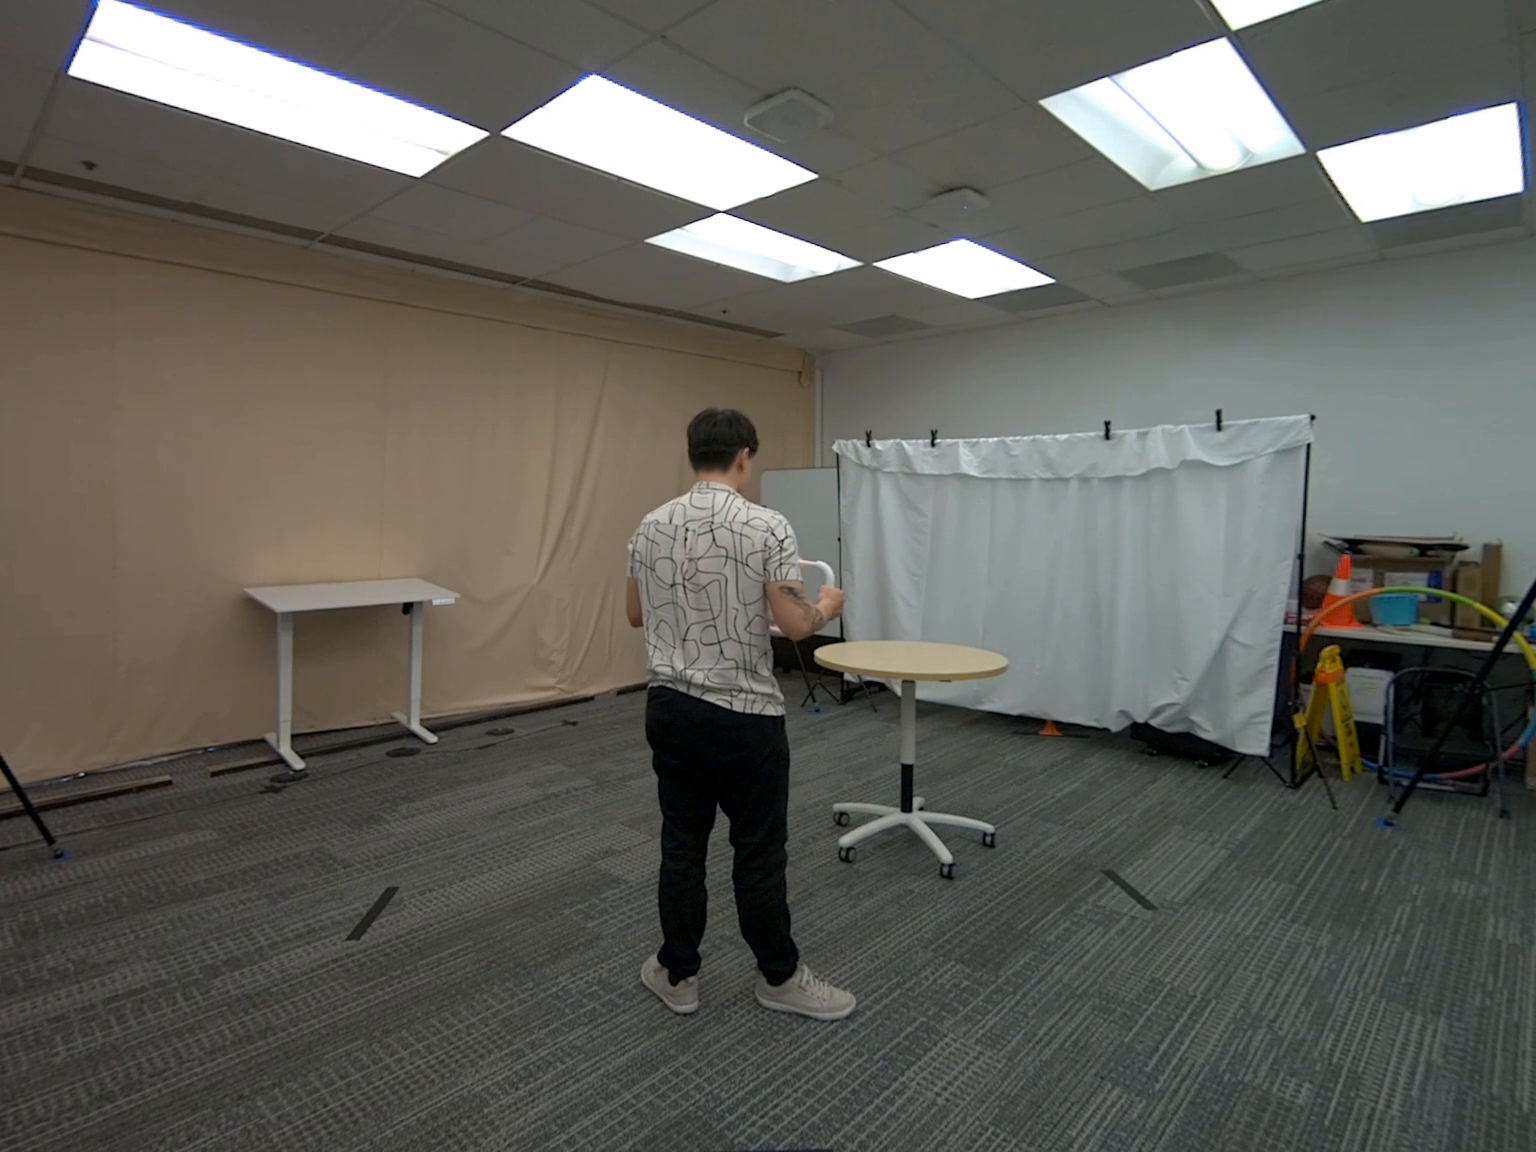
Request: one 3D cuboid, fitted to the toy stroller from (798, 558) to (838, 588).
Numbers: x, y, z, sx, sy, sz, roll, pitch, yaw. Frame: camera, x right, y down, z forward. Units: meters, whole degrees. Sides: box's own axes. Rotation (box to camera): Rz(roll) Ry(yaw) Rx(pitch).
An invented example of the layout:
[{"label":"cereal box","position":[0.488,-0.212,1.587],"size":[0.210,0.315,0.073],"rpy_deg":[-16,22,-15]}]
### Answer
[{"label":"toy stroller","position":[-0.015,0.038,2.676],"size":[0.337,0.282,0.541],"rpy_deg":[15,-4,-12]}]
